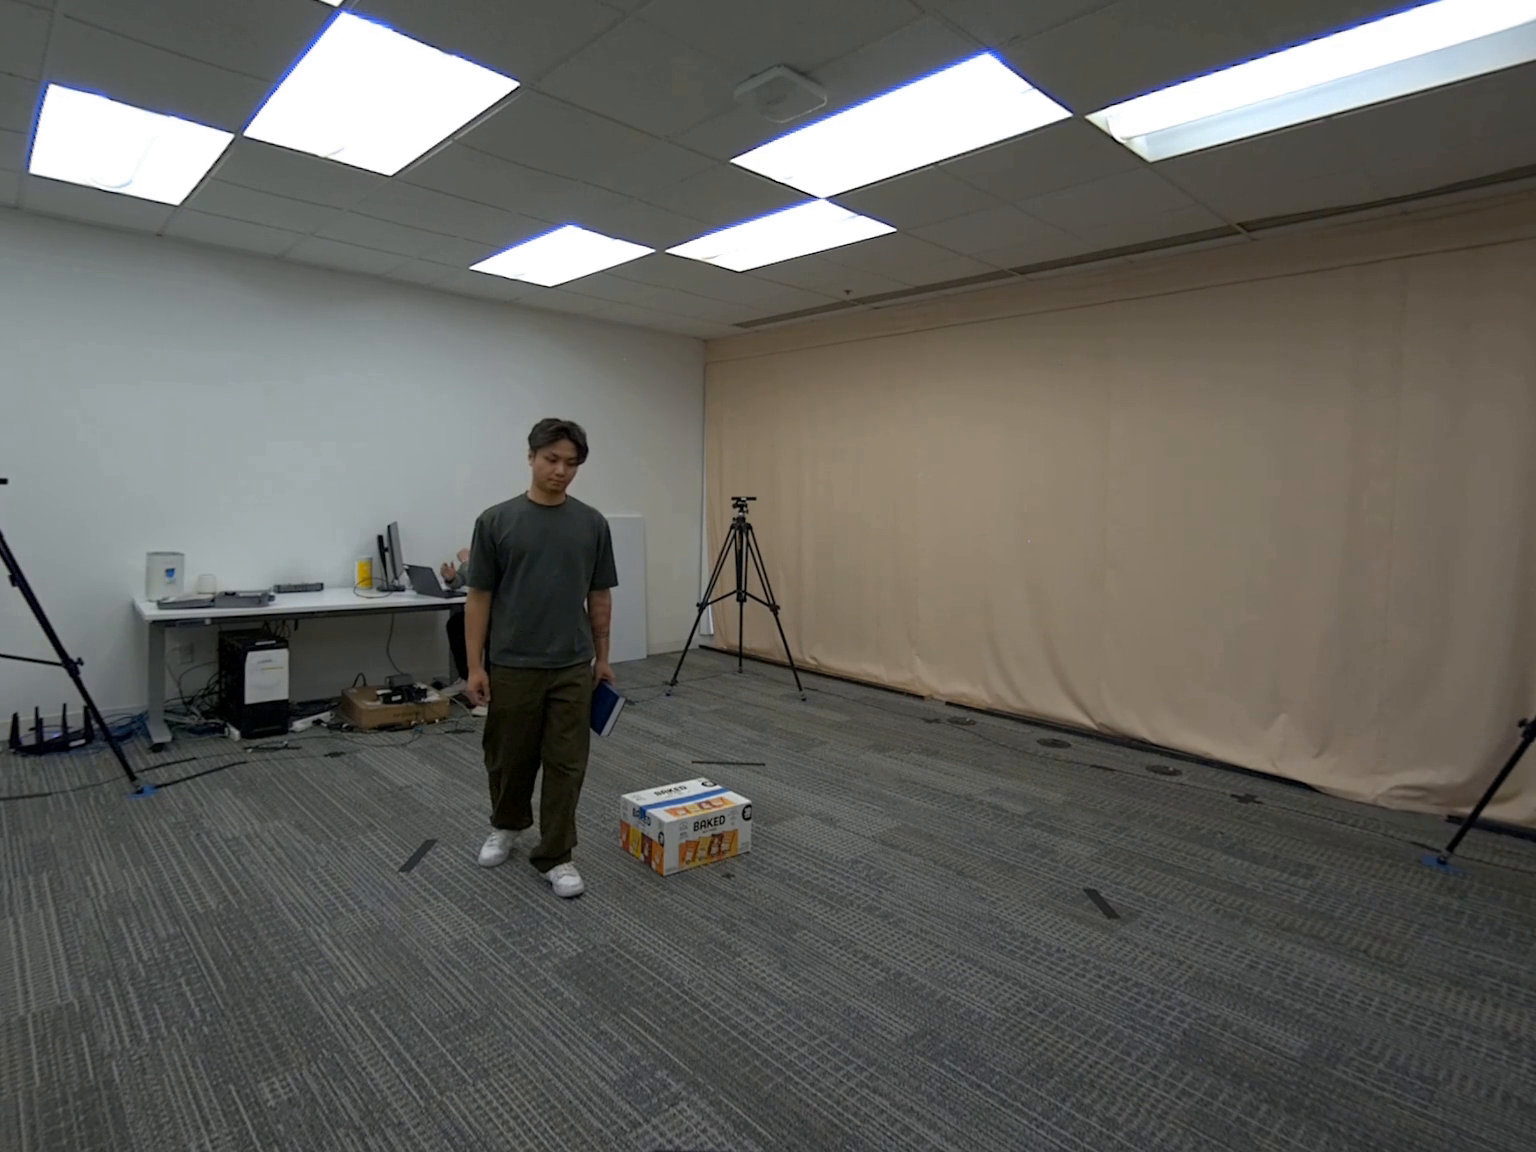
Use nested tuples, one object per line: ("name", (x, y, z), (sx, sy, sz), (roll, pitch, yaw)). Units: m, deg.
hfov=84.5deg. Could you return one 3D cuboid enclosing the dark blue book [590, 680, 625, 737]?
("dark blue book", (-0.647, 0.471, 3.138), (0.253, 0.163, 0.044), (27, 1, 42))
